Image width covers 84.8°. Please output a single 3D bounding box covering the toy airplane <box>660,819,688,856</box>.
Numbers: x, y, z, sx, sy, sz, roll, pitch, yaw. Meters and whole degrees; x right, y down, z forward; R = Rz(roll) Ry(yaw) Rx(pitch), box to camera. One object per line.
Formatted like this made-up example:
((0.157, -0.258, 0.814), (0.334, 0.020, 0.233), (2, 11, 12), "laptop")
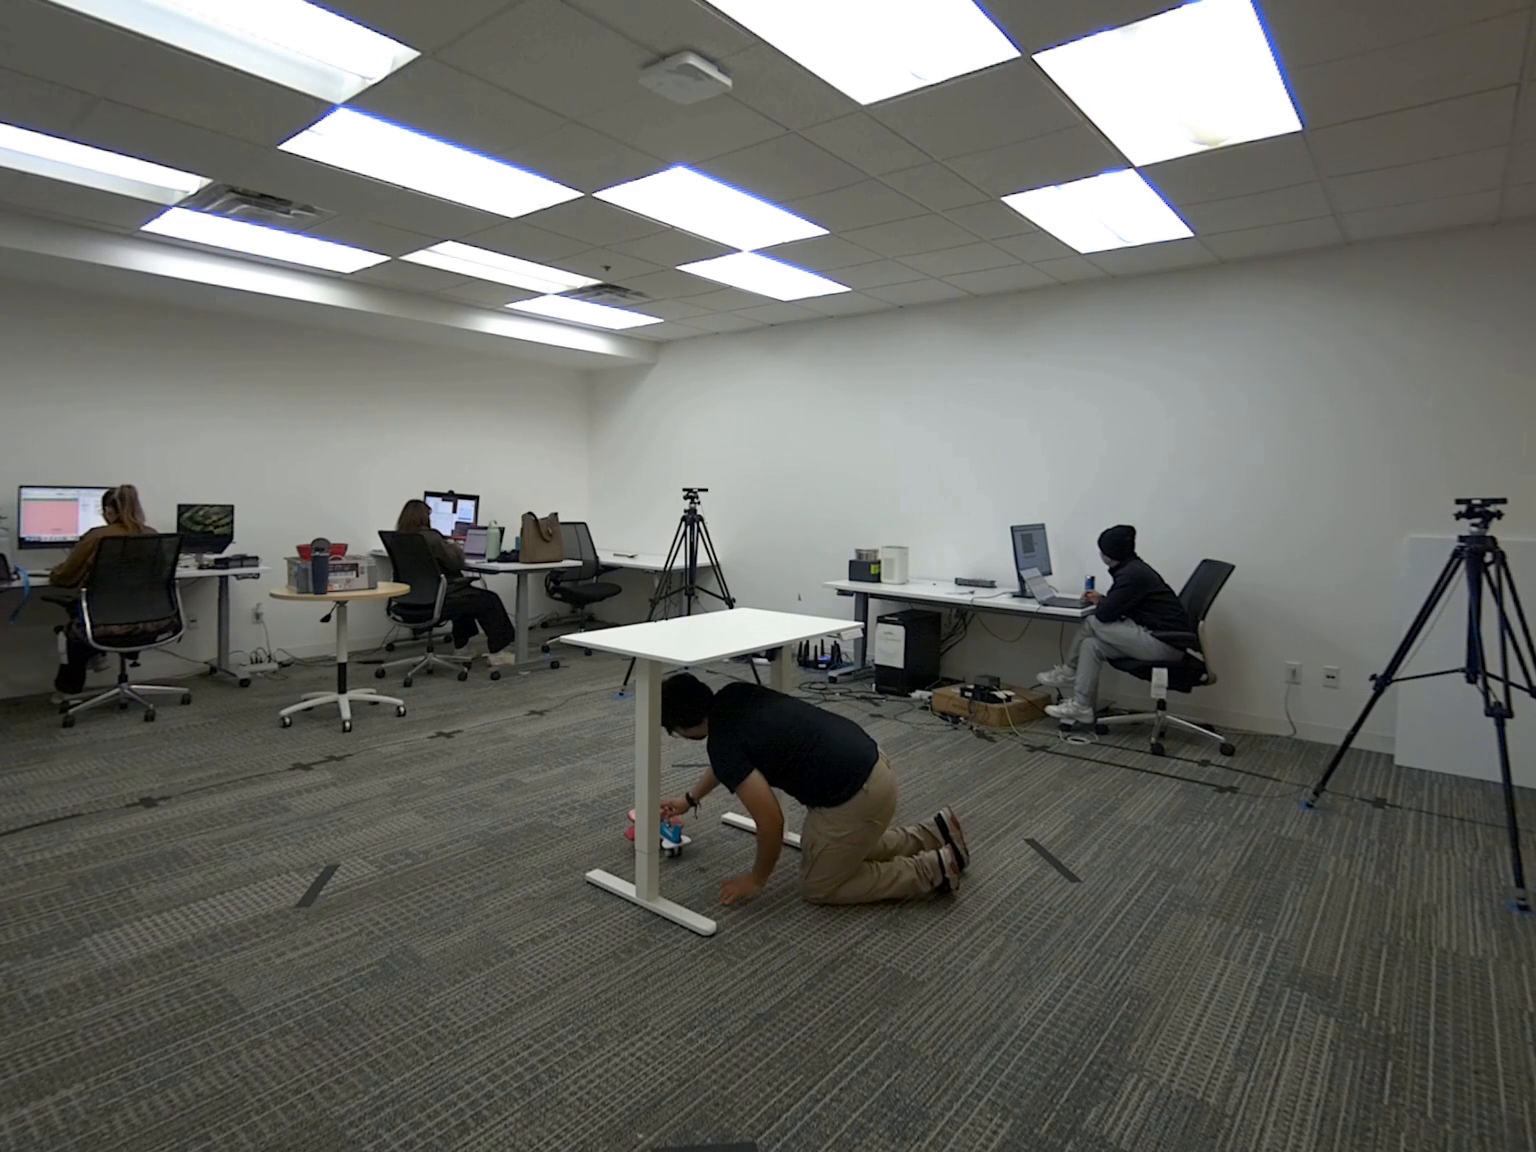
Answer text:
((-0.413, 0.976, 3.306), (0.266, 0.156, 0.245), (2, 4, 24), "toy airplane")
